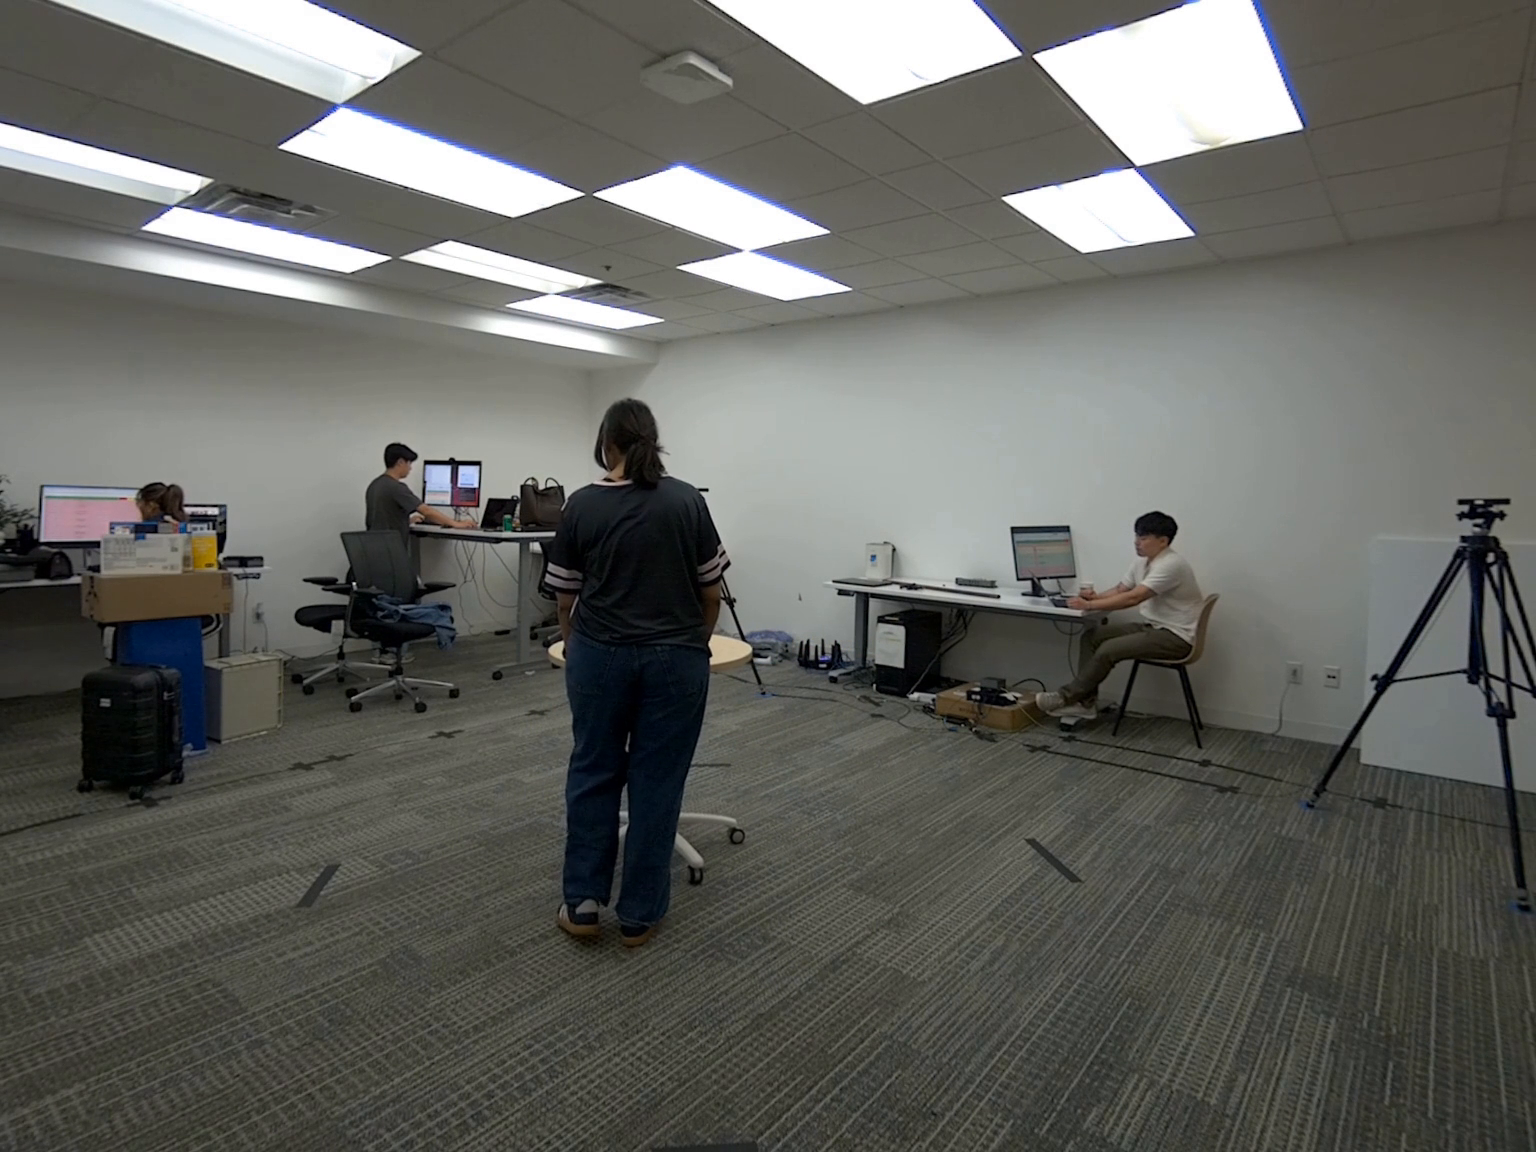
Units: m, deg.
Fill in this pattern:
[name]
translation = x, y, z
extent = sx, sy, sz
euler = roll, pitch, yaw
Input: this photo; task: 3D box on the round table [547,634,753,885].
[round table]
translation = -0.451, 0.660, 3.234
extent = 0.763, 0.791, 0.768
euler = 0, 4, -2
